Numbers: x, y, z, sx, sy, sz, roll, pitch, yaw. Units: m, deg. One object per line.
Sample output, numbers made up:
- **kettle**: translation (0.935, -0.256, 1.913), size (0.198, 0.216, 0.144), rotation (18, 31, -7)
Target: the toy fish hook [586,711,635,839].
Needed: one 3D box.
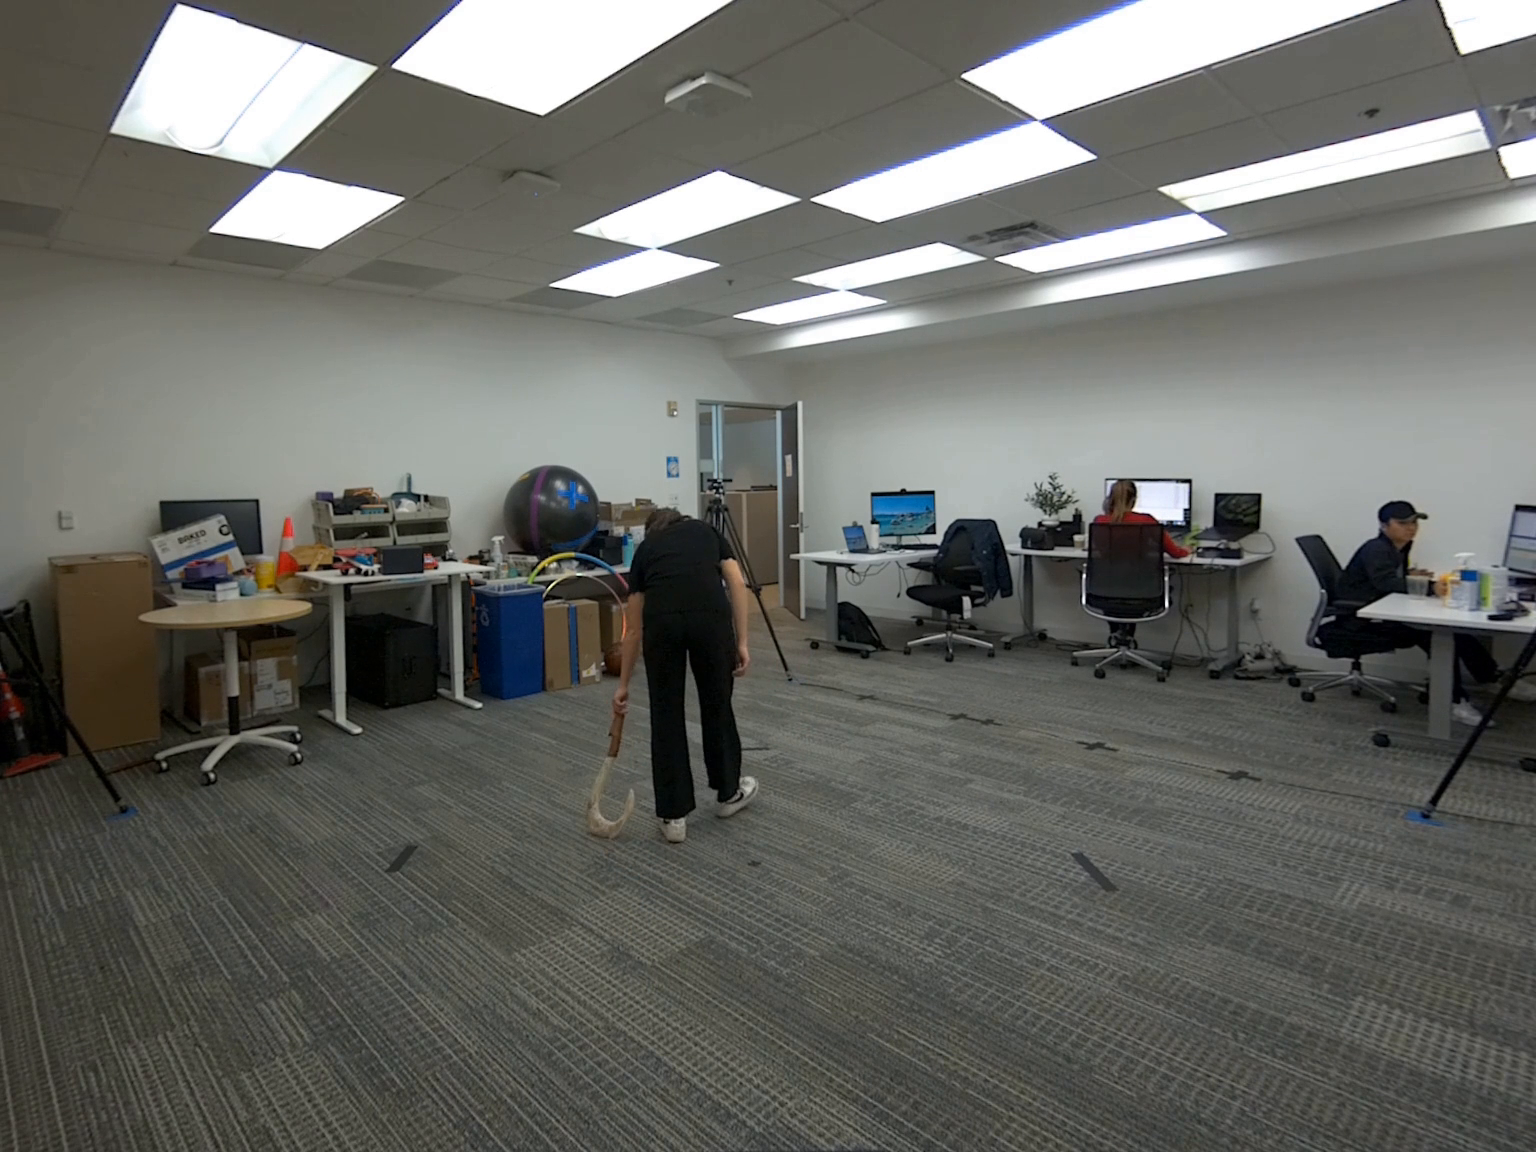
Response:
- **toy fish hook**: translation (-0.595, 0.787, 3.435), size (0.230, 0.512, 0.046), rotation (2, -18, 27)
